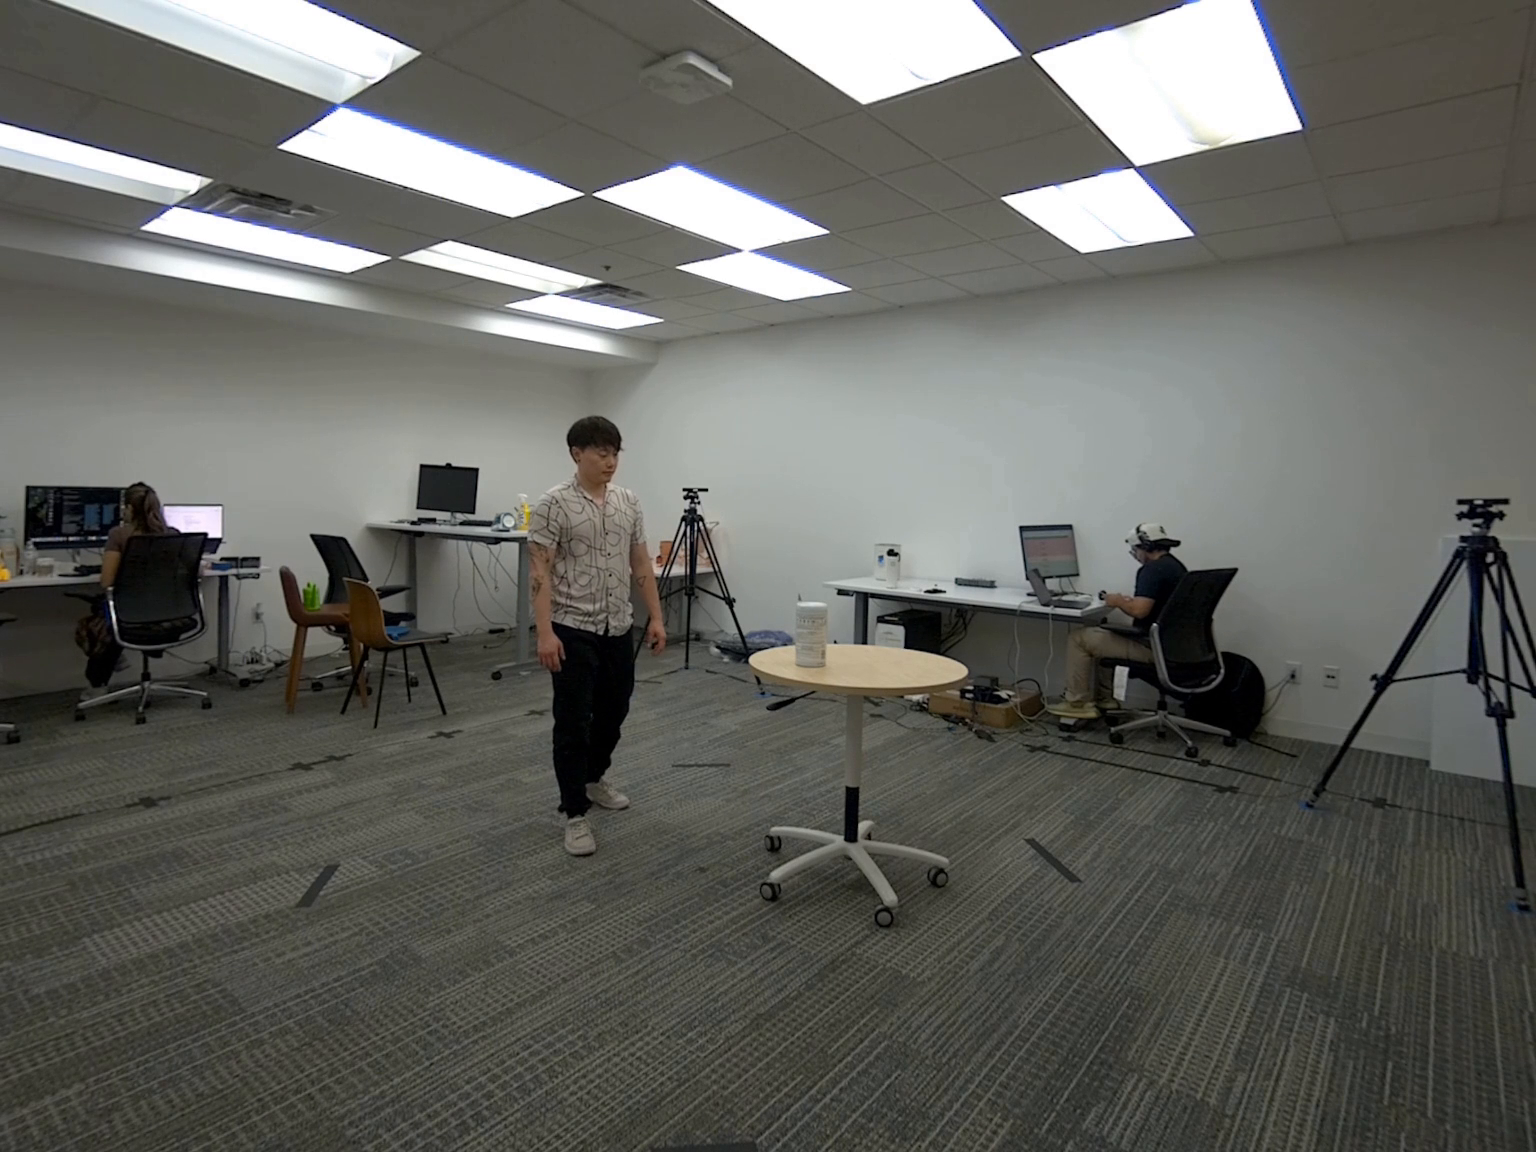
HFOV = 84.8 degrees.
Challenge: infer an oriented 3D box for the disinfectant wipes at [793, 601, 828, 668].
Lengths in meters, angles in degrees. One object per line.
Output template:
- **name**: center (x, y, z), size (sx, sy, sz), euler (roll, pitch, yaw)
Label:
- **disinfectant wipes**: center (0.143, 0.203, 2.978), size (0.118, 0.217, 0.118), euler (0, 3, -2)
